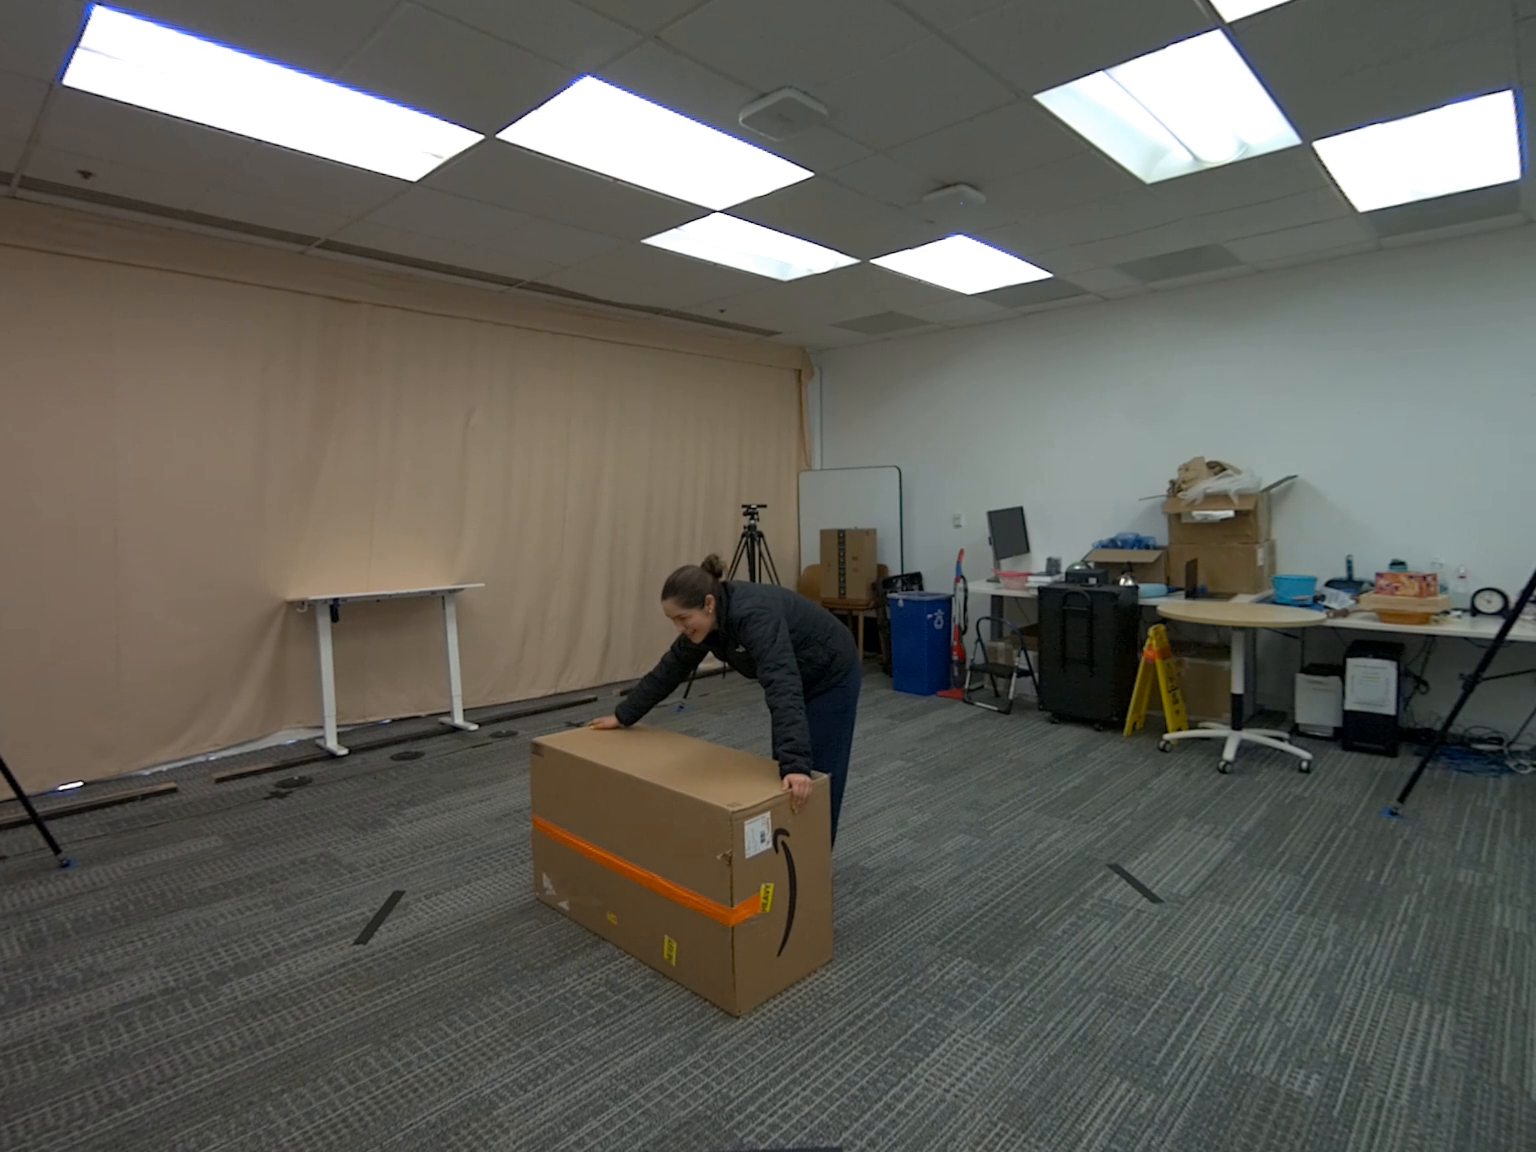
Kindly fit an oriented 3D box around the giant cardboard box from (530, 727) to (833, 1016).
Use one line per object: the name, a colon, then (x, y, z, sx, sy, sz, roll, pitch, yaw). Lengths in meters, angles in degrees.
giant cardboard box: (-0.313, 0.878, 2.775, 0.433, 0.583, 1.061, -2, 4, -45)
